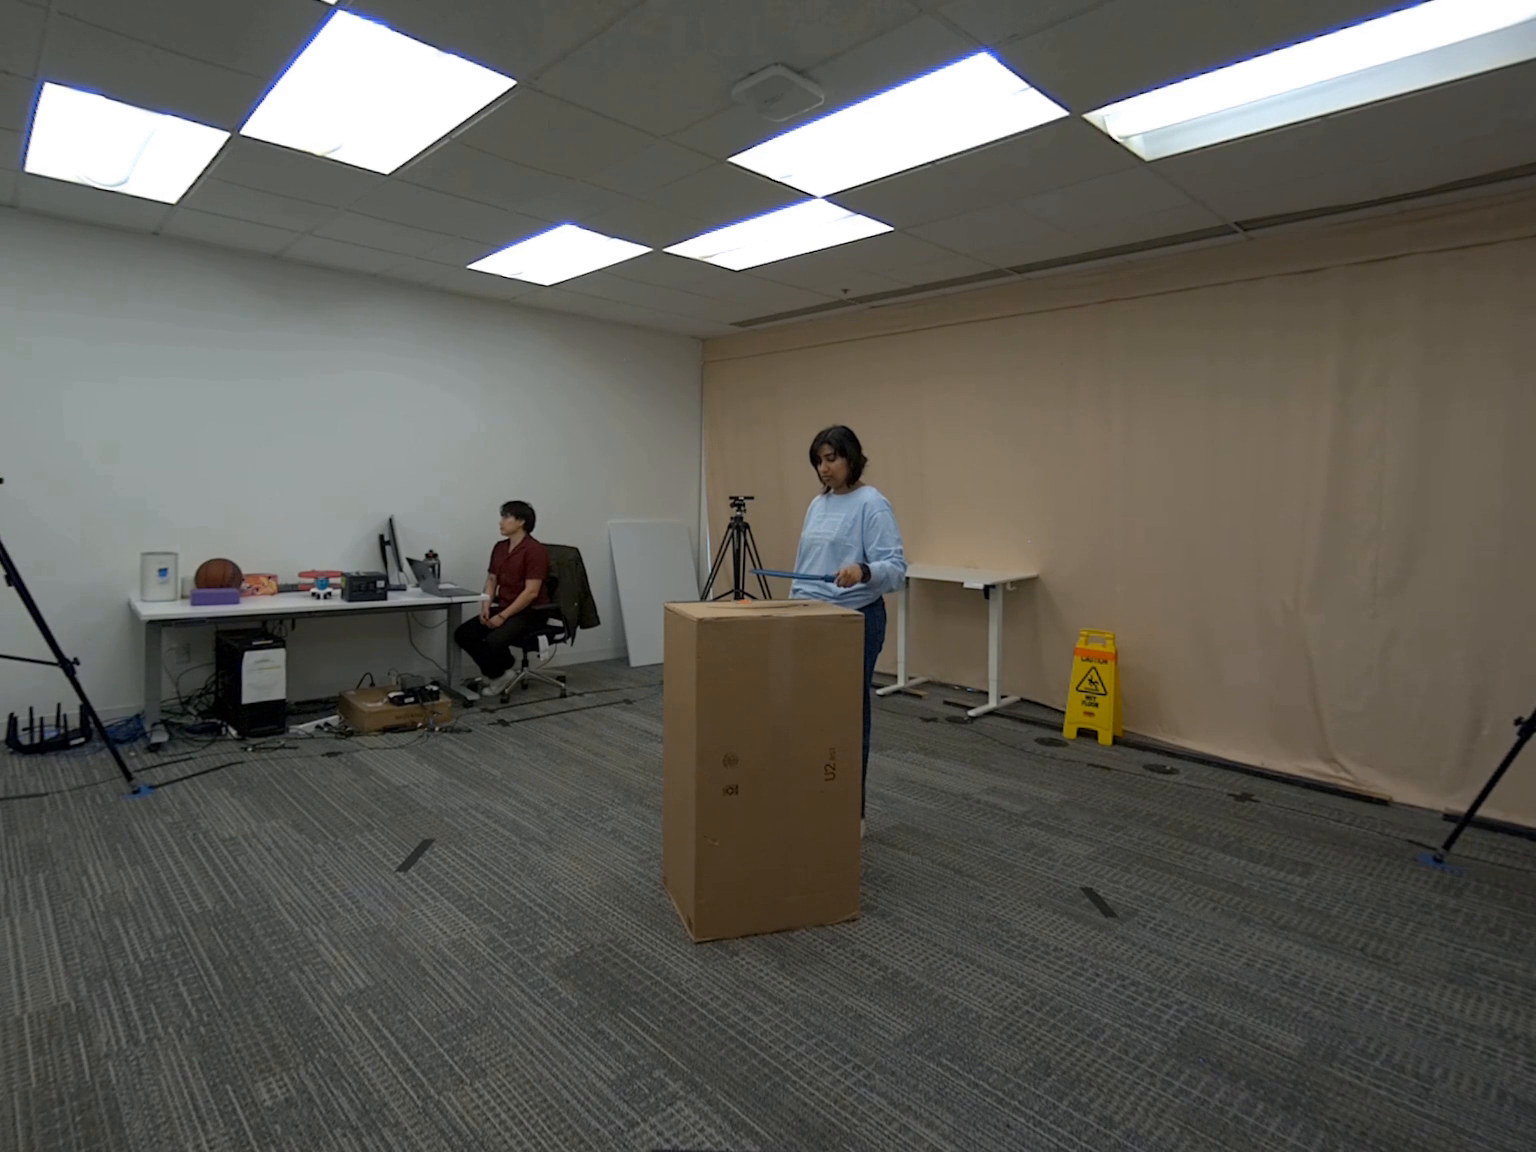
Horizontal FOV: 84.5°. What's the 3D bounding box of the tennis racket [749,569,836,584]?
[{"bbox_3d":[0.102,-0.003,2.959,0.422,0.032,0.219,2,5,-44],"label":"tennis racket"}]
